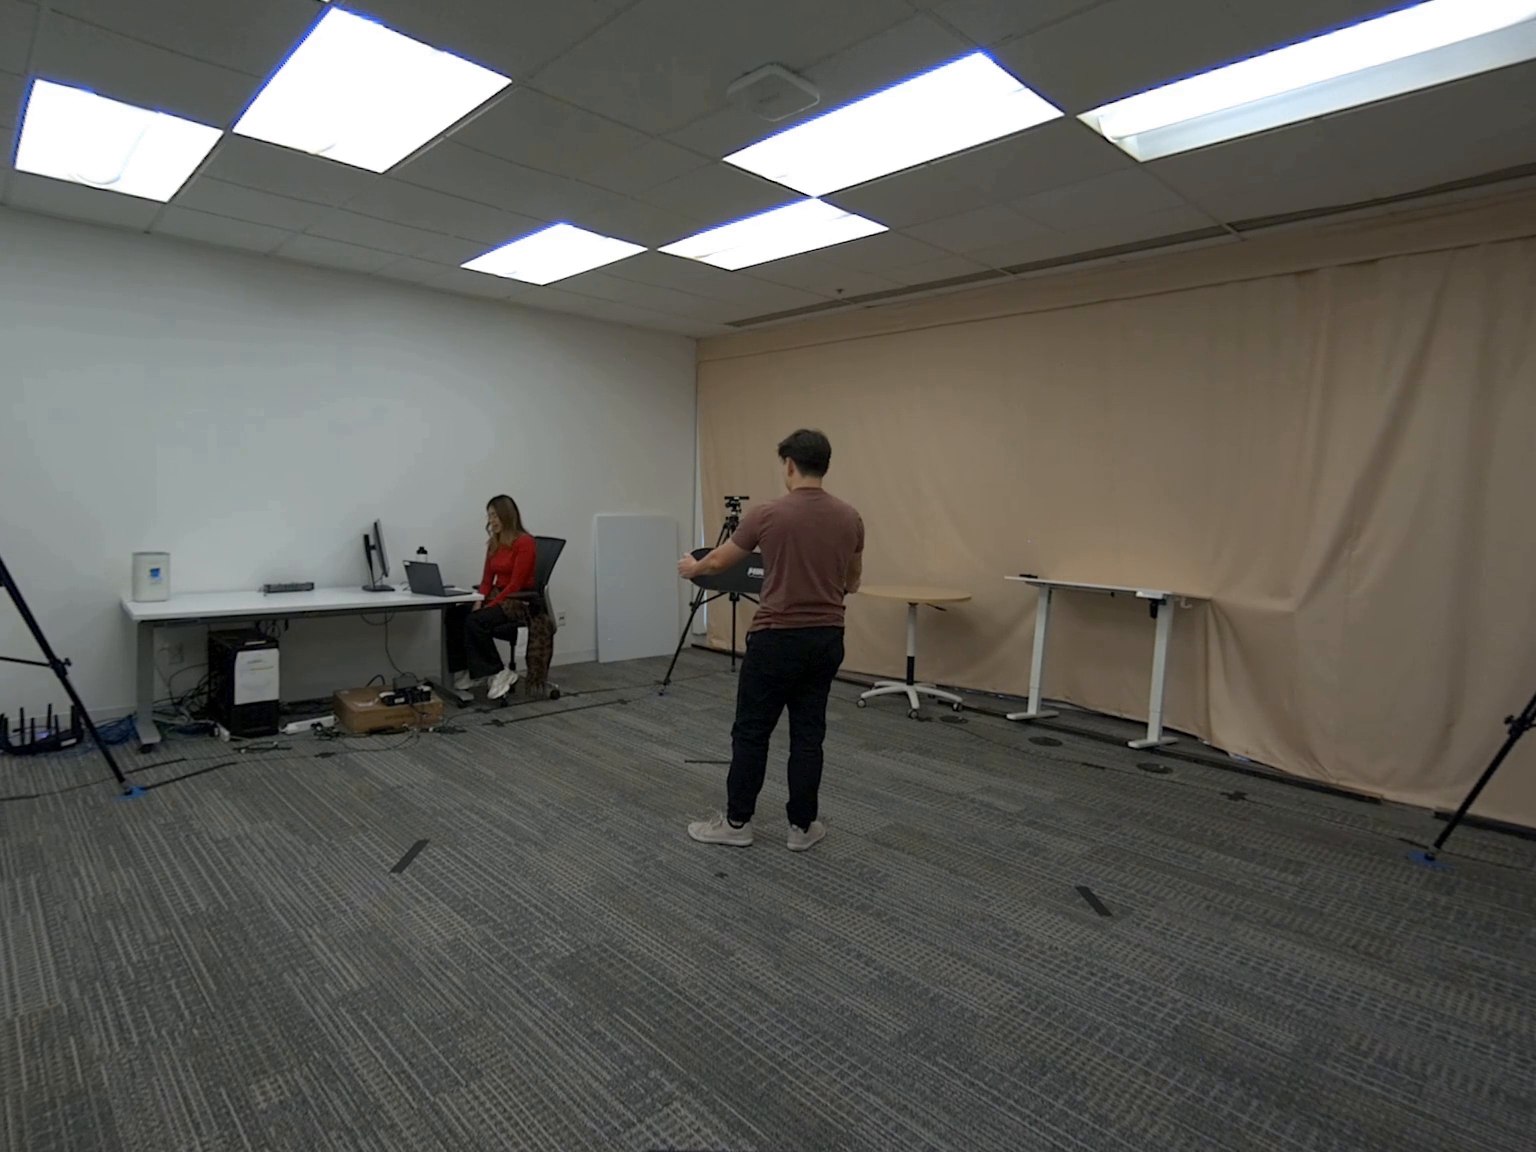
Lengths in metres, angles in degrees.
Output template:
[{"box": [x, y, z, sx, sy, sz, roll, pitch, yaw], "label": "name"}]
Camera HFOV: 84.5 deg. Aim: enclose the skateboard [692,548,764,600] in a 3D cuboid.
[{"box": [-0.028, 0.000, 3.783, 0.775, 0.195, 0.110, 4, -14, -15], "label": "skateboard"}]
